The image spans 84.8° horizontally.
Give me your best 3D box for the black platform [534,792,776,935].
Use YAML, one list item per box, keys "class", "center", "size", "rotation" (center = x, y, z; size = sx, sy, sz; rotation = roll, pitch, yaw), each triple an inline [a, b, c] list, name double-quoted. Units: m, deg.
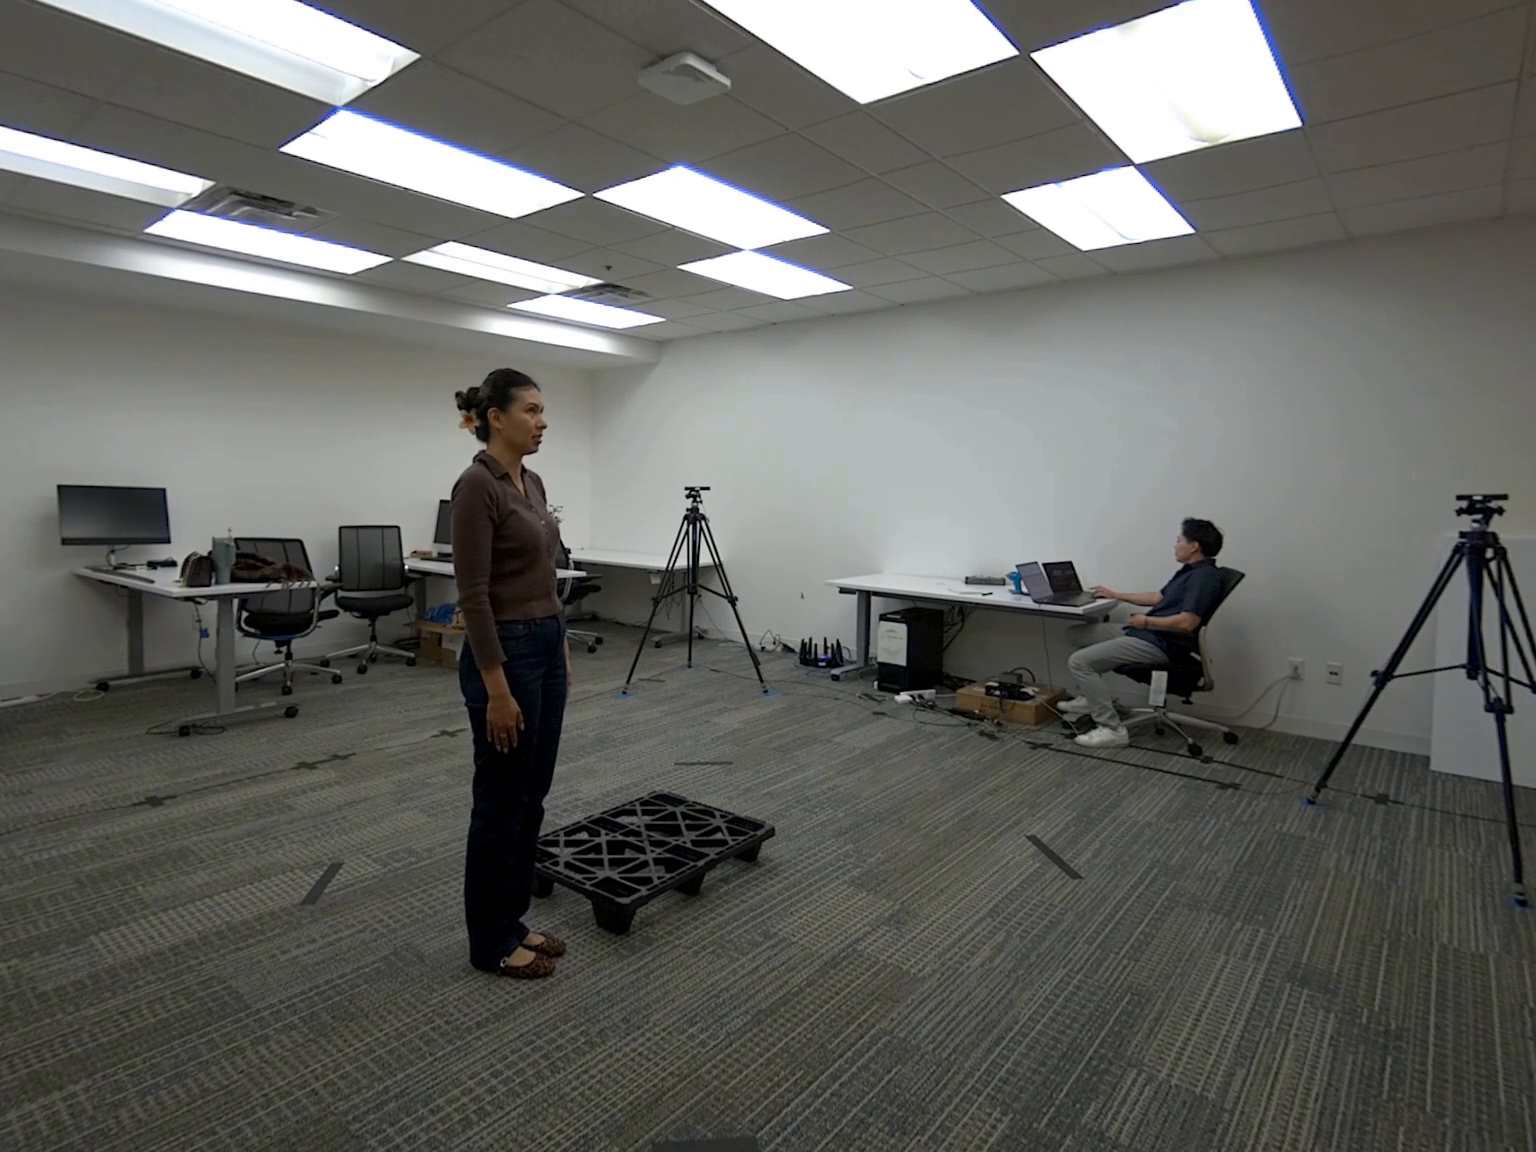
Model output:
- class: "black platform"
  center: [-0.452, 1.002, 3.053]
  size: [0.625, 0.143, 0.783]
  rotation: [4, 6, 37]
